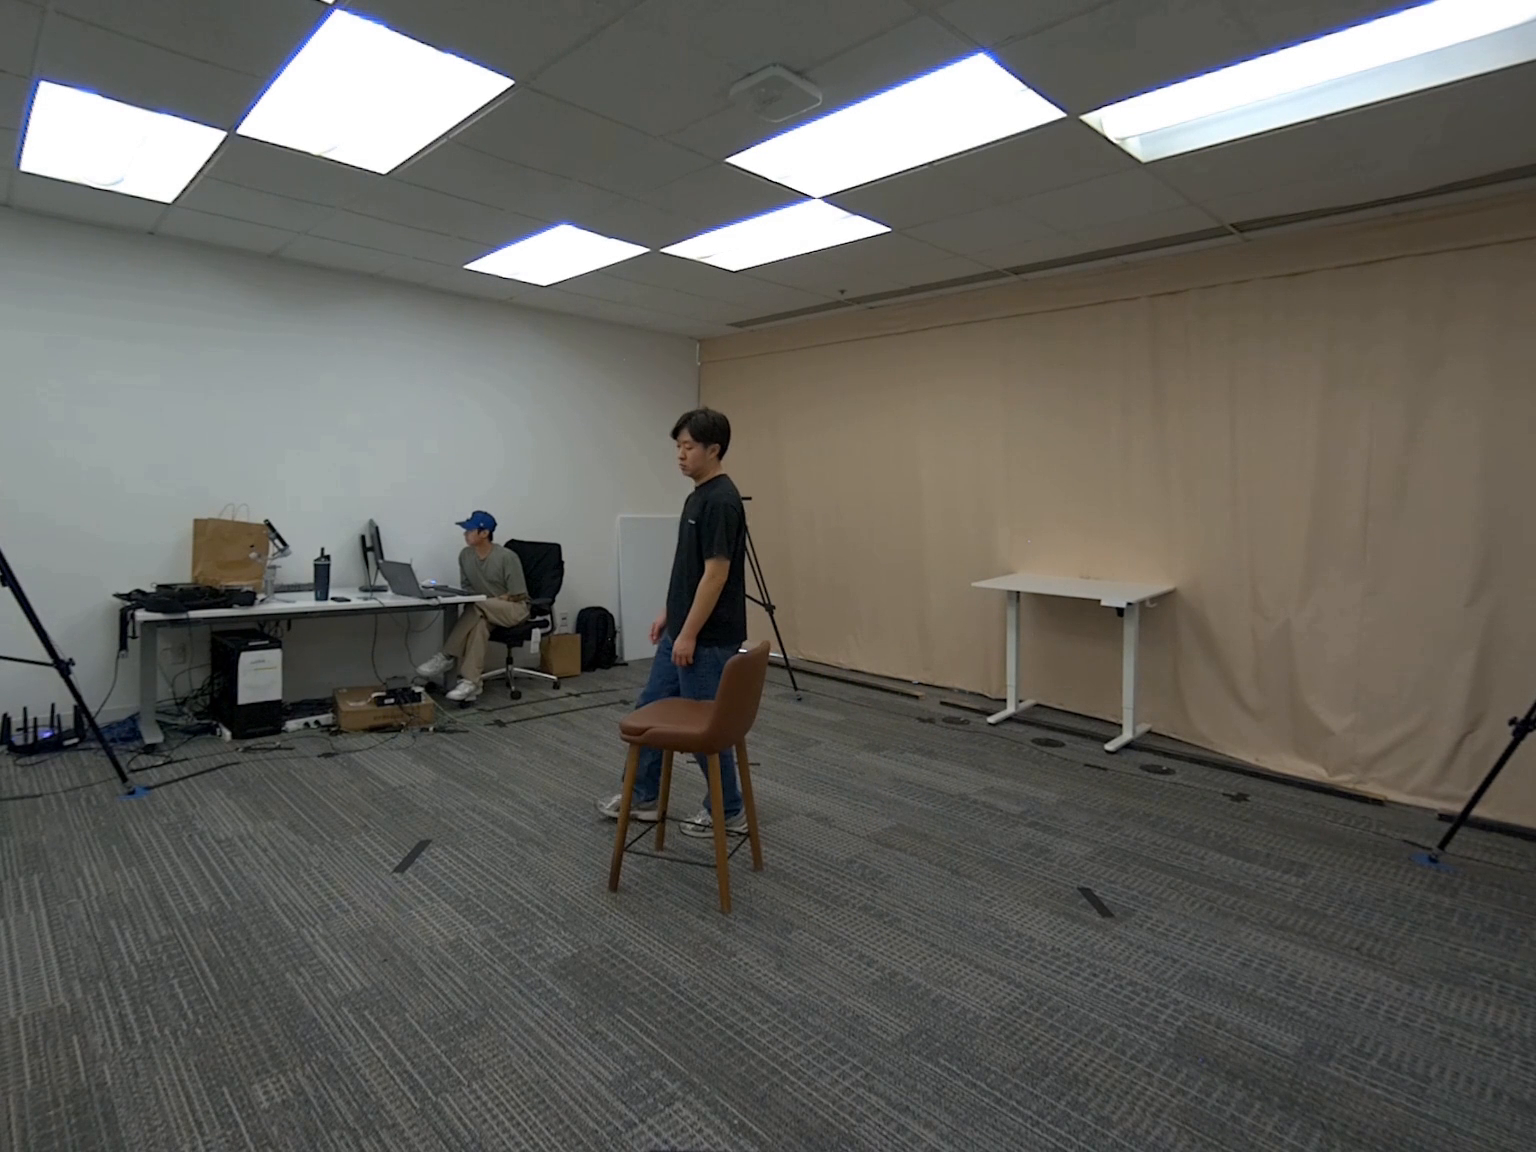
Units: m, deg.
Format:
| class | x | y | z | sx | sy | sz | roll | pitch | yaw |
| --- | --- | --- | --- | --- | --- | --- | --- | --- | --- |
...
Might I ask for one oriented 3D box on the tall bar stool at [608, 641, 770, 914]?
| class | x | y | z | sx | sy | sz | roll | pitch | yaw |
| --- | --- | --- | --- | --- | --- | --- | --- | --- | --- |
| tall bar stool | -0.270 | 0.677 | 3.038 | 0.475 | 0.887 | 0.451 | 3 | 5 | 19 |
